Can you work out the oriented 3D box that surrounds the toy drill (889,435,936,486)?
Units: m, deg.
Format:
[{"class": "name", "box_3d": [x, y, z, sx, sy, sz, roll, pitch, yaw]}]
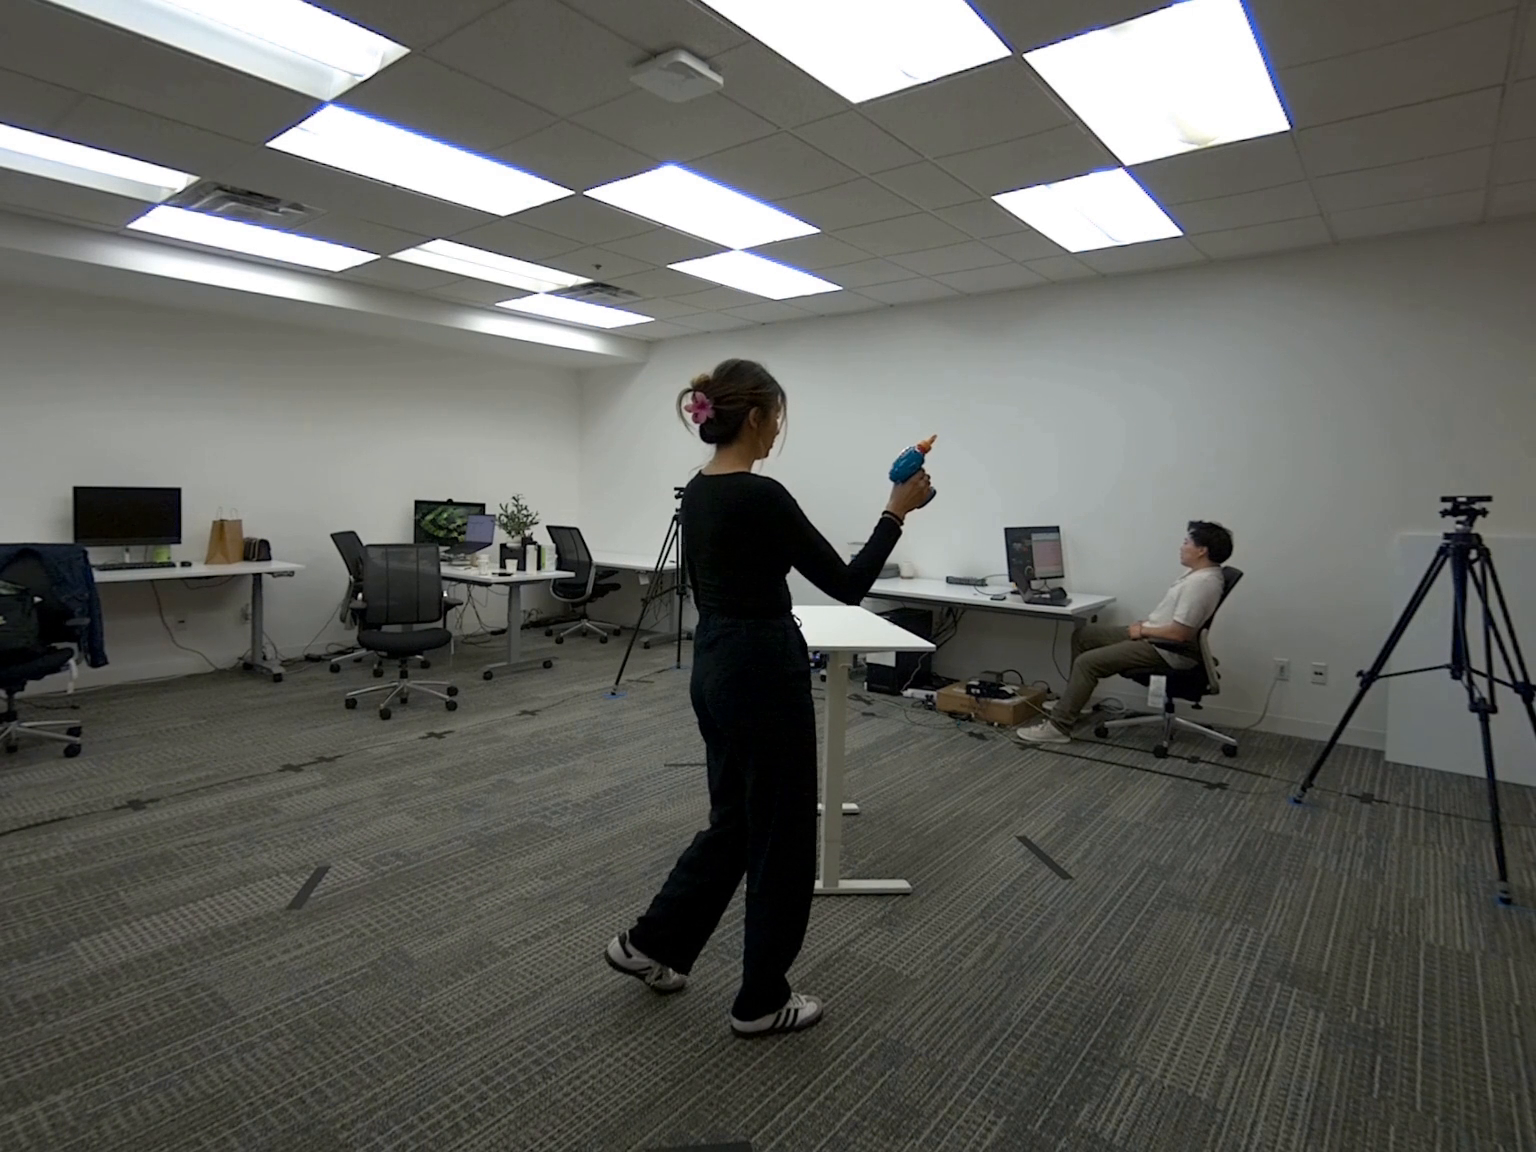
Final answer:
[{"class": "toy drill", "box_3d": [0.377, -0.268, 2.127, 0.169, 0.141, 0.063, -44, 25, -10]}]
